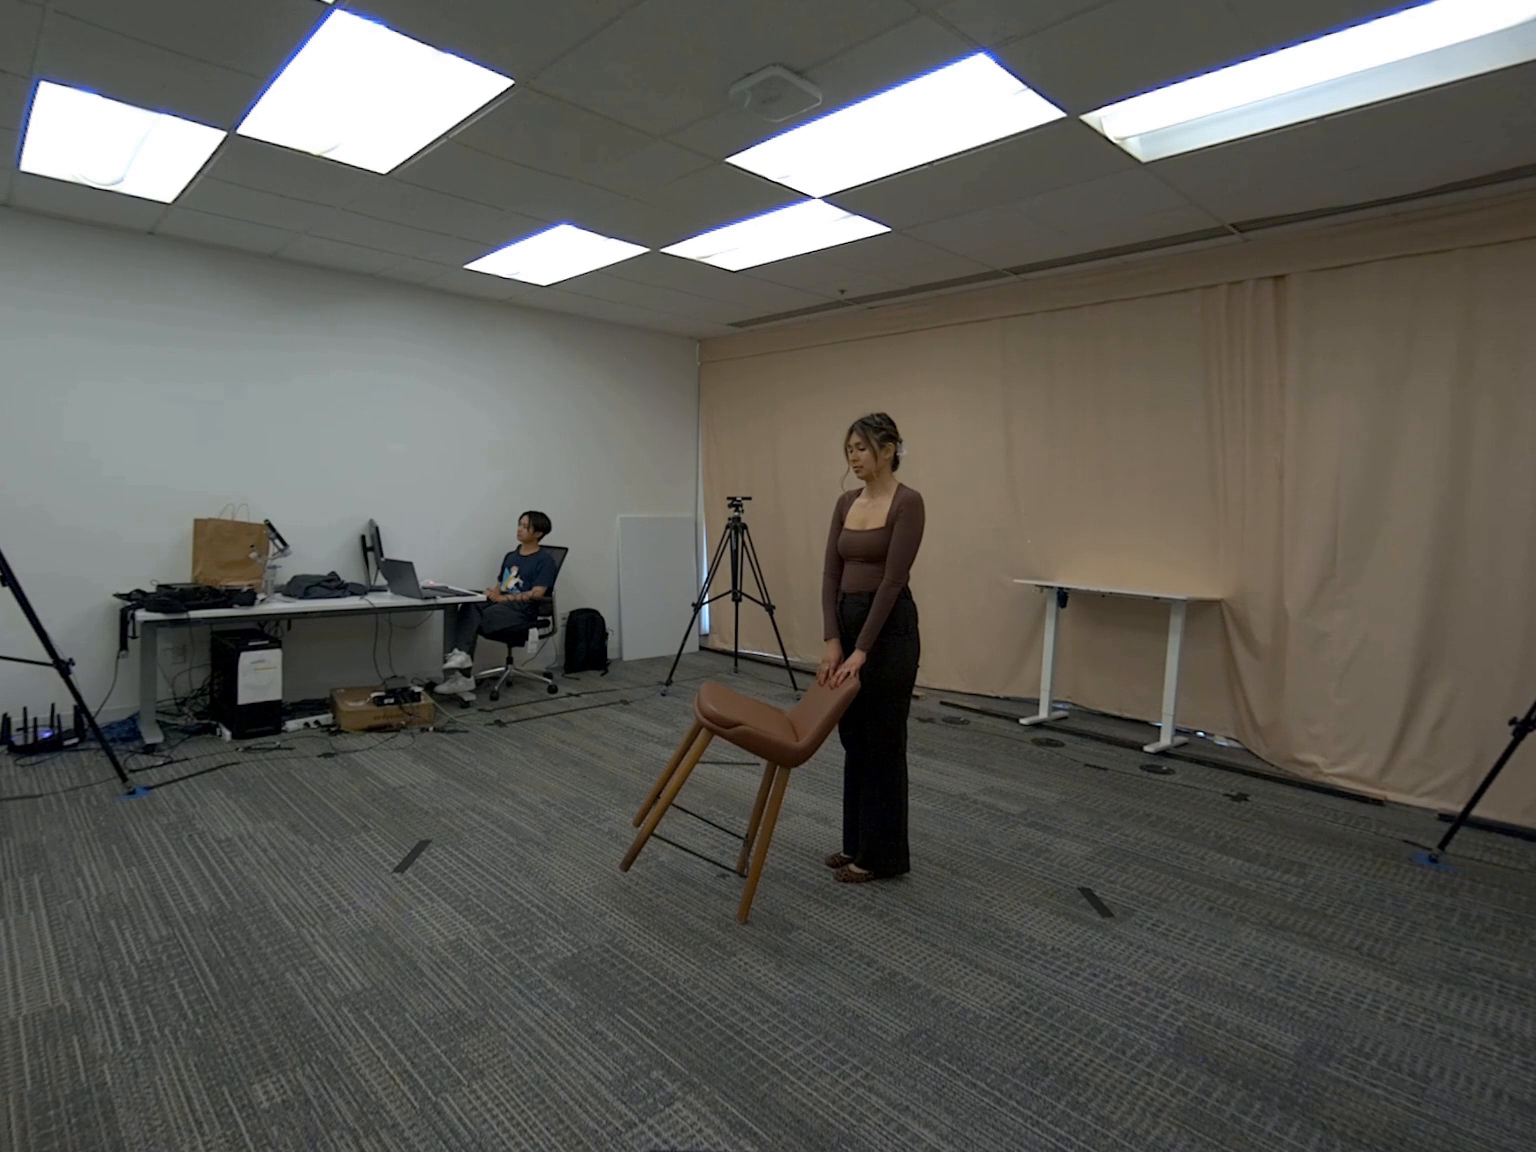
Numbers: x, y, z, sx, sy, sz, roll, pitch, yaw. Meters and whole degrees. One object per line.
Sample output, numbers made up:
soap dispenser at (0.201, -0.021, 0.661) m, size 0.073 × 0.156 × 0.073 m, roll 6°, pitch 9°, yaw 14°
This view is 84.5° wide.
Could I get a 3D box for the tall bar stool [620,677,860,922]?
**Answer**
tall bar stool at (-0.099, 0.643, 2.904) m, size 0.467 × 0.889 × 0.458 m, roll 27°, pitch 3°, yaw -3°
